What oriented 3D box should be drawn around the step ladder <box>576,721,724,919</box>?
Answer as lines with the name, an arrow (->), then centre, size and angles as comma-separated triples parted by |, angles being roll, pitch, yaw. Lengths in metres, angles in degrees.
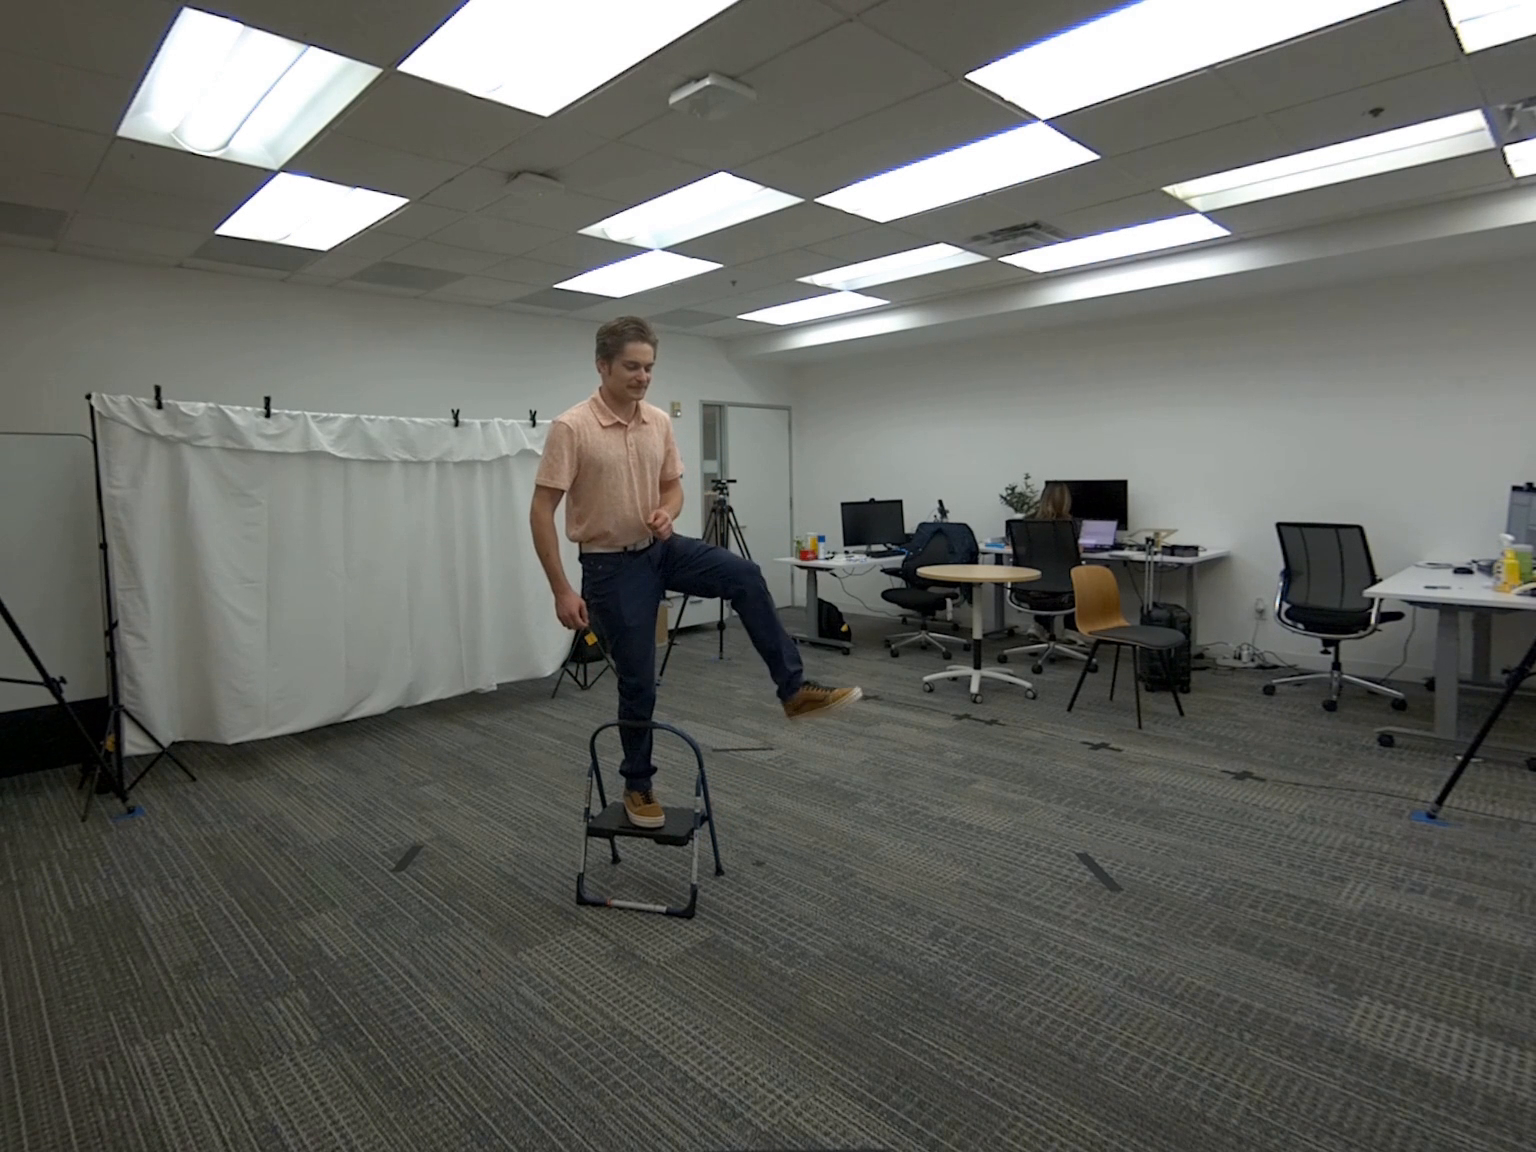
step ladder -> -0.406, 0.777, 2.923 | 0.437, 0.604, 0.346 | 0, 4, 14
